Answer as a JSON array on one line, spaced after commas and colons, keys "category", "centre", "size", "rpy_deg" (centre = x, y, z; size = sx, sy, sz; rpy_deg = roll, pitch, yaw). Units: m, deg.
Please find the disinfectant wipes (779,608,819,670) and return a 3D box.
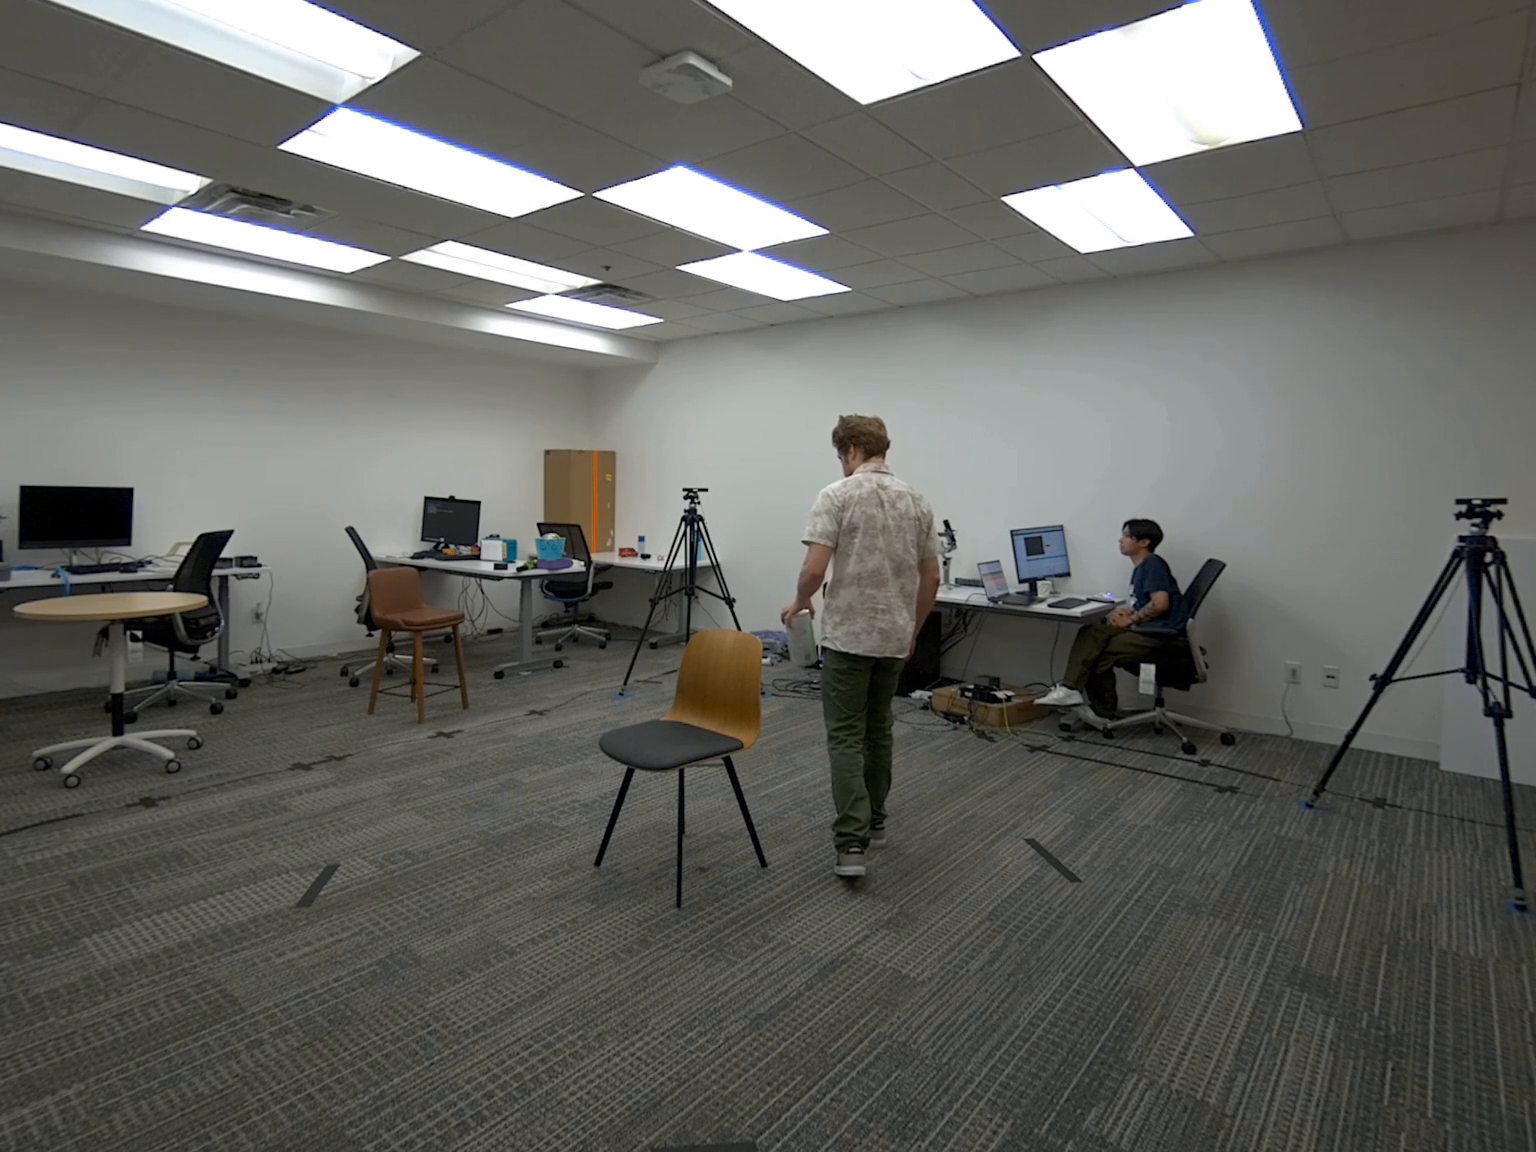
[{"category": "disinfectant wipes", "centre": [0.124, 0.247, 3.418], "size": [0.118, 0.214, 0.119], "rpy_deg": [-9, 16, 1]}]
